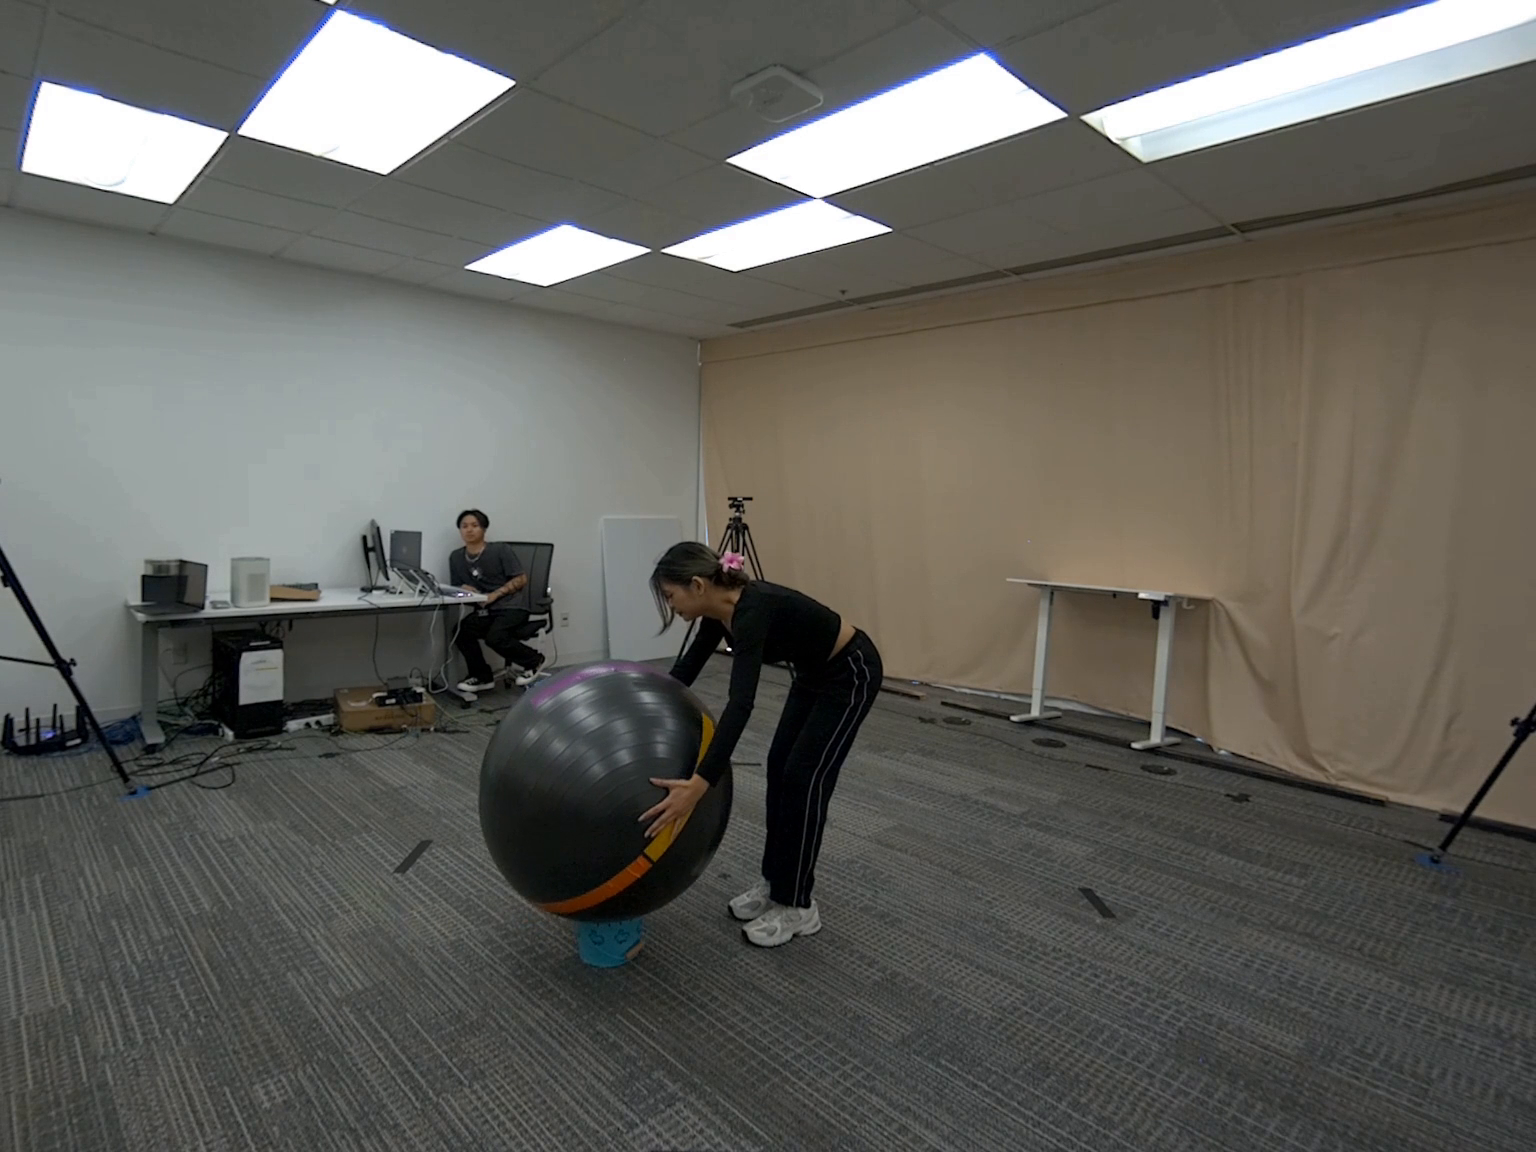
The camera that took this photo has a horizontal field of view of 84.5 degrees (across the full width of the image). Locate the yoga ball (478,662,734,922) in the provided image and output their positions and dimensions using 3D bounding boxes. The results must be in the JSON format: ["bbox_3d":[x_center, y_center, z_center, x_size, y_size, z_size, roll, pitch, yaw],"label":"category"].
[{"bbox_3d":[-0.498,0.638,2.537,0.757,0.756,0.761,1,4,-1],"label":"yoga ball"}]
